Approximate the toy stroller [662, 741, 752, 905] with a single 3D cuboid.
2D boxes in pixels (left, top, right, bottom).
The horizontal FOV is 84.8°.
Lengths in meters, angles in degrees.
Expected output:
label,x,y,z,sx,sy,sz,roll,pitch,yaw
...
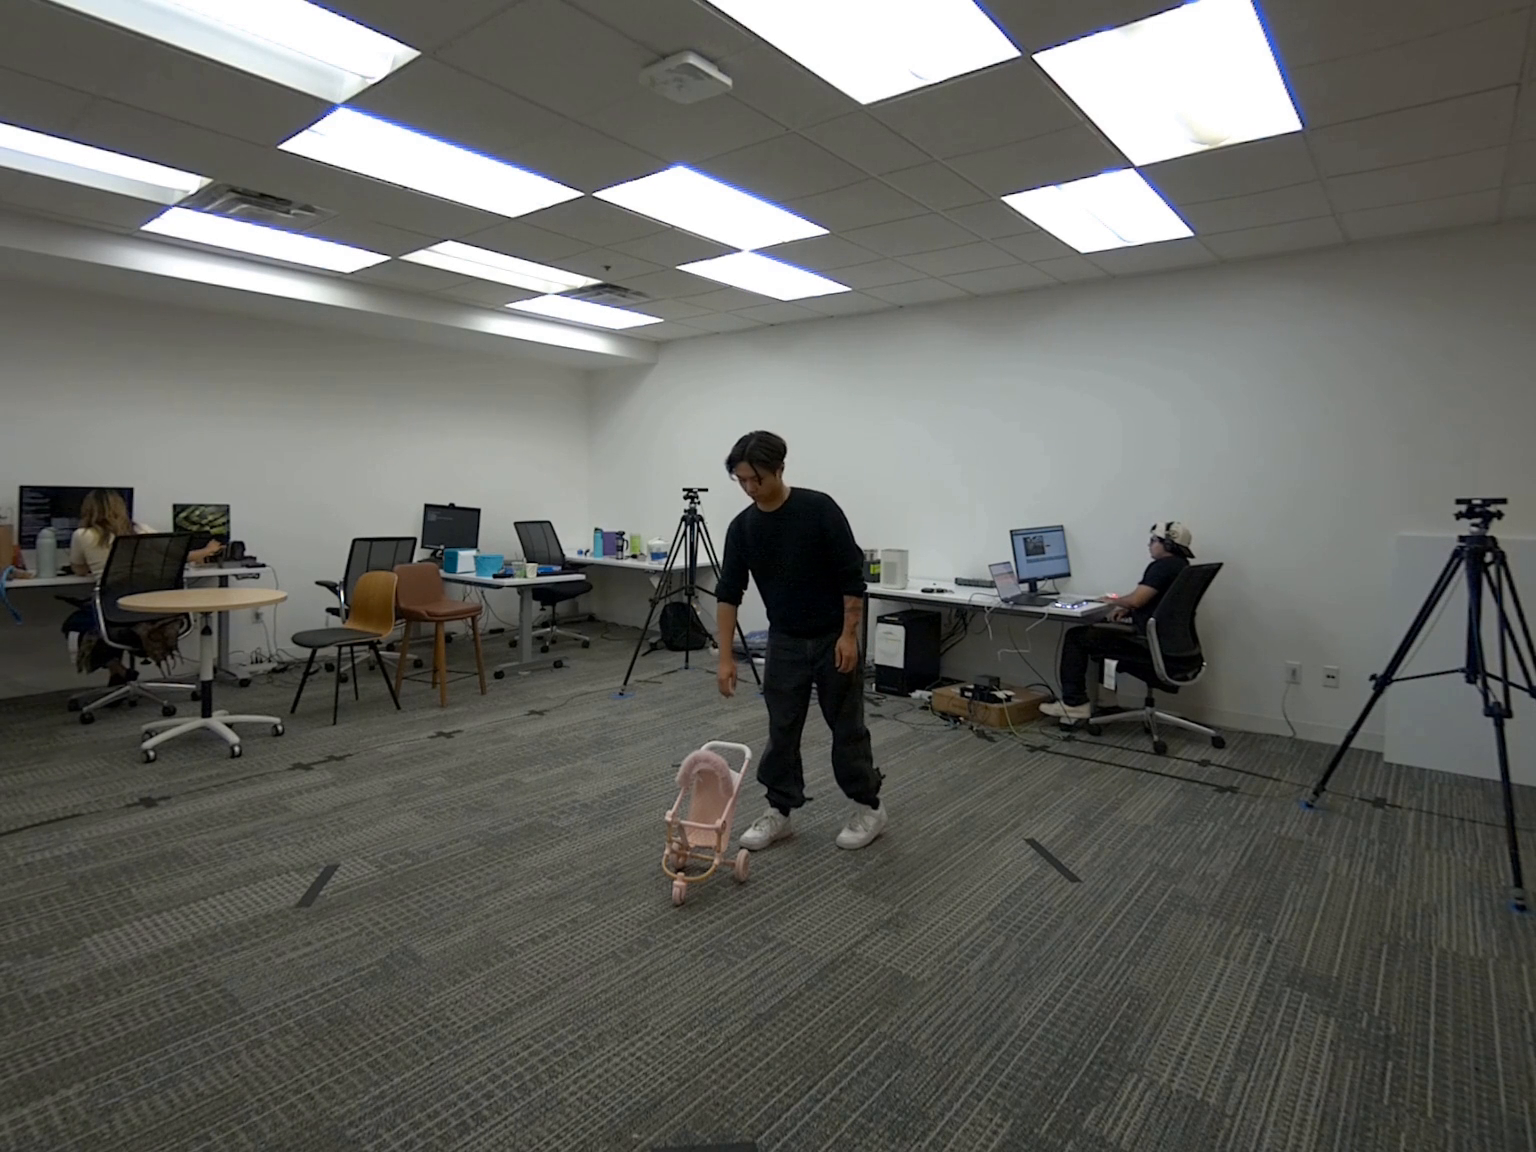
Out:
label,x,y,z,sx,sy,sz,roll,pitch,yaw
toy stroller,-0.239,0.853,3.001,0.289,0.540,0.329,2,-12,25
